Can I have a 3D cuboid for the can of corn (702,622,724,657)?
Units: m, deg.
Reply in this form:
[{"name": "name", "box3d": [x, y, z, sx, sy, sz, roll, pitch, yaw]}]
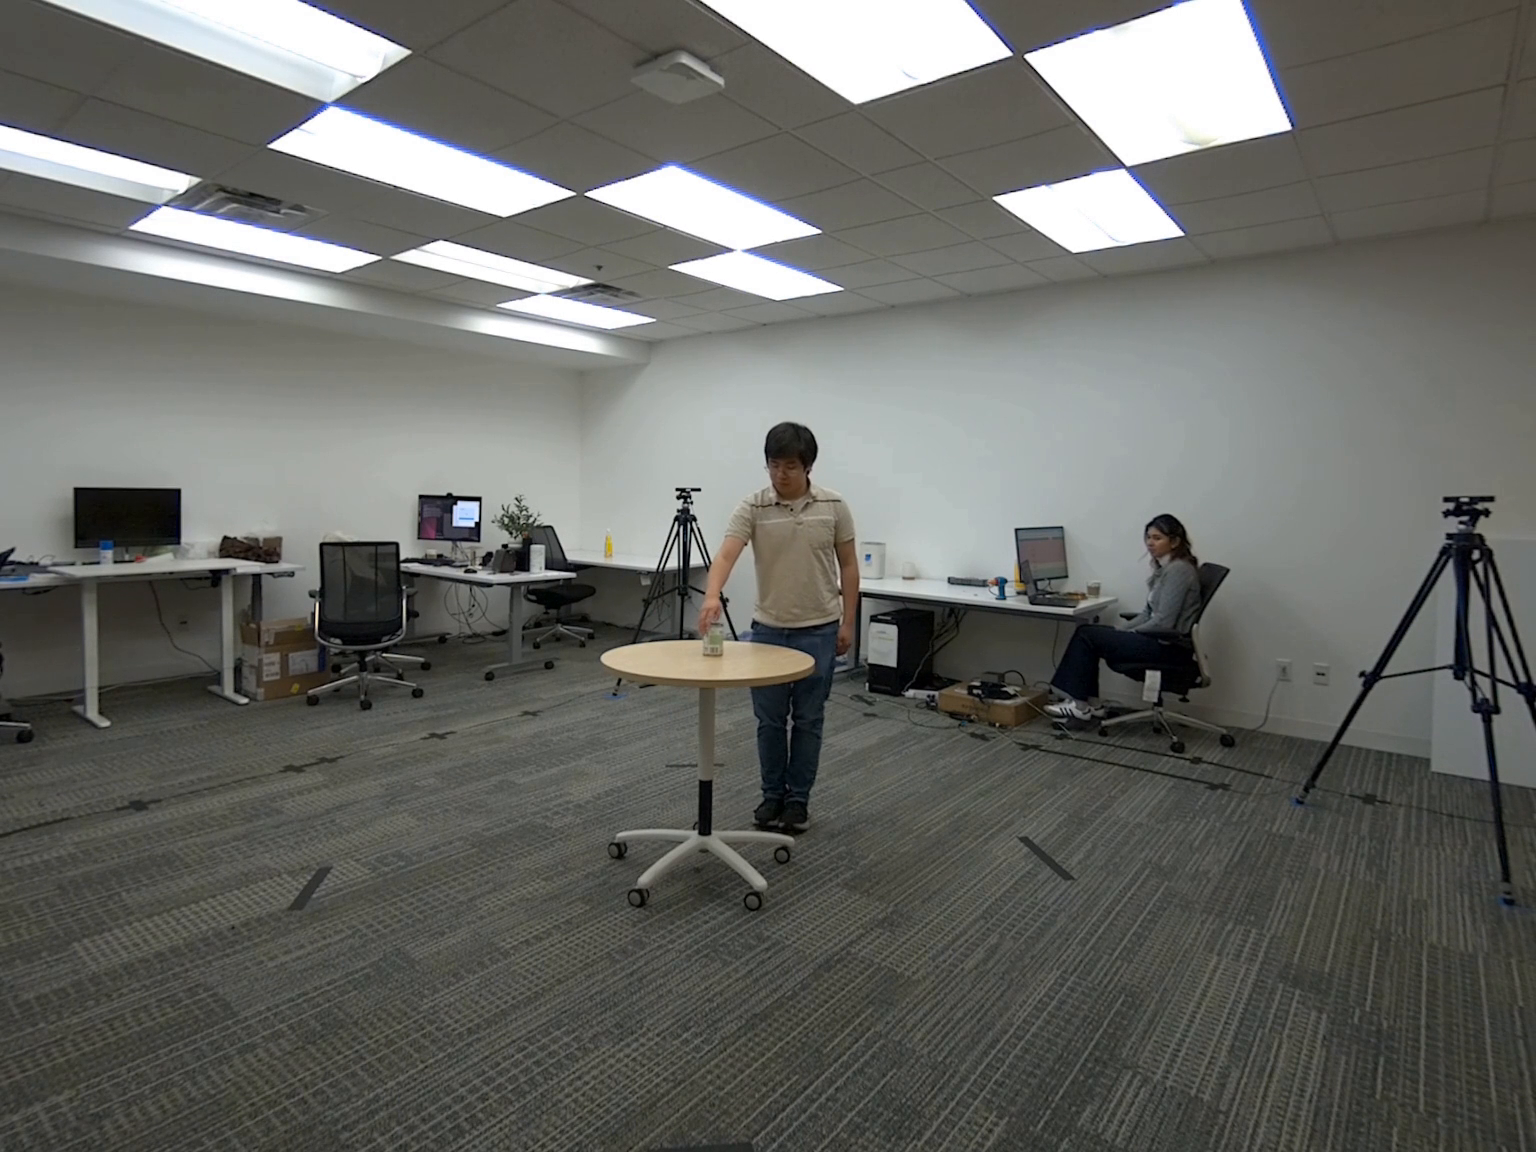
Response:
[{"name": "can of corn", "box3d": [-0.212, 0.229, 3.106, 0.074, 0.111, 0.074, 3, 4, -2]}]
